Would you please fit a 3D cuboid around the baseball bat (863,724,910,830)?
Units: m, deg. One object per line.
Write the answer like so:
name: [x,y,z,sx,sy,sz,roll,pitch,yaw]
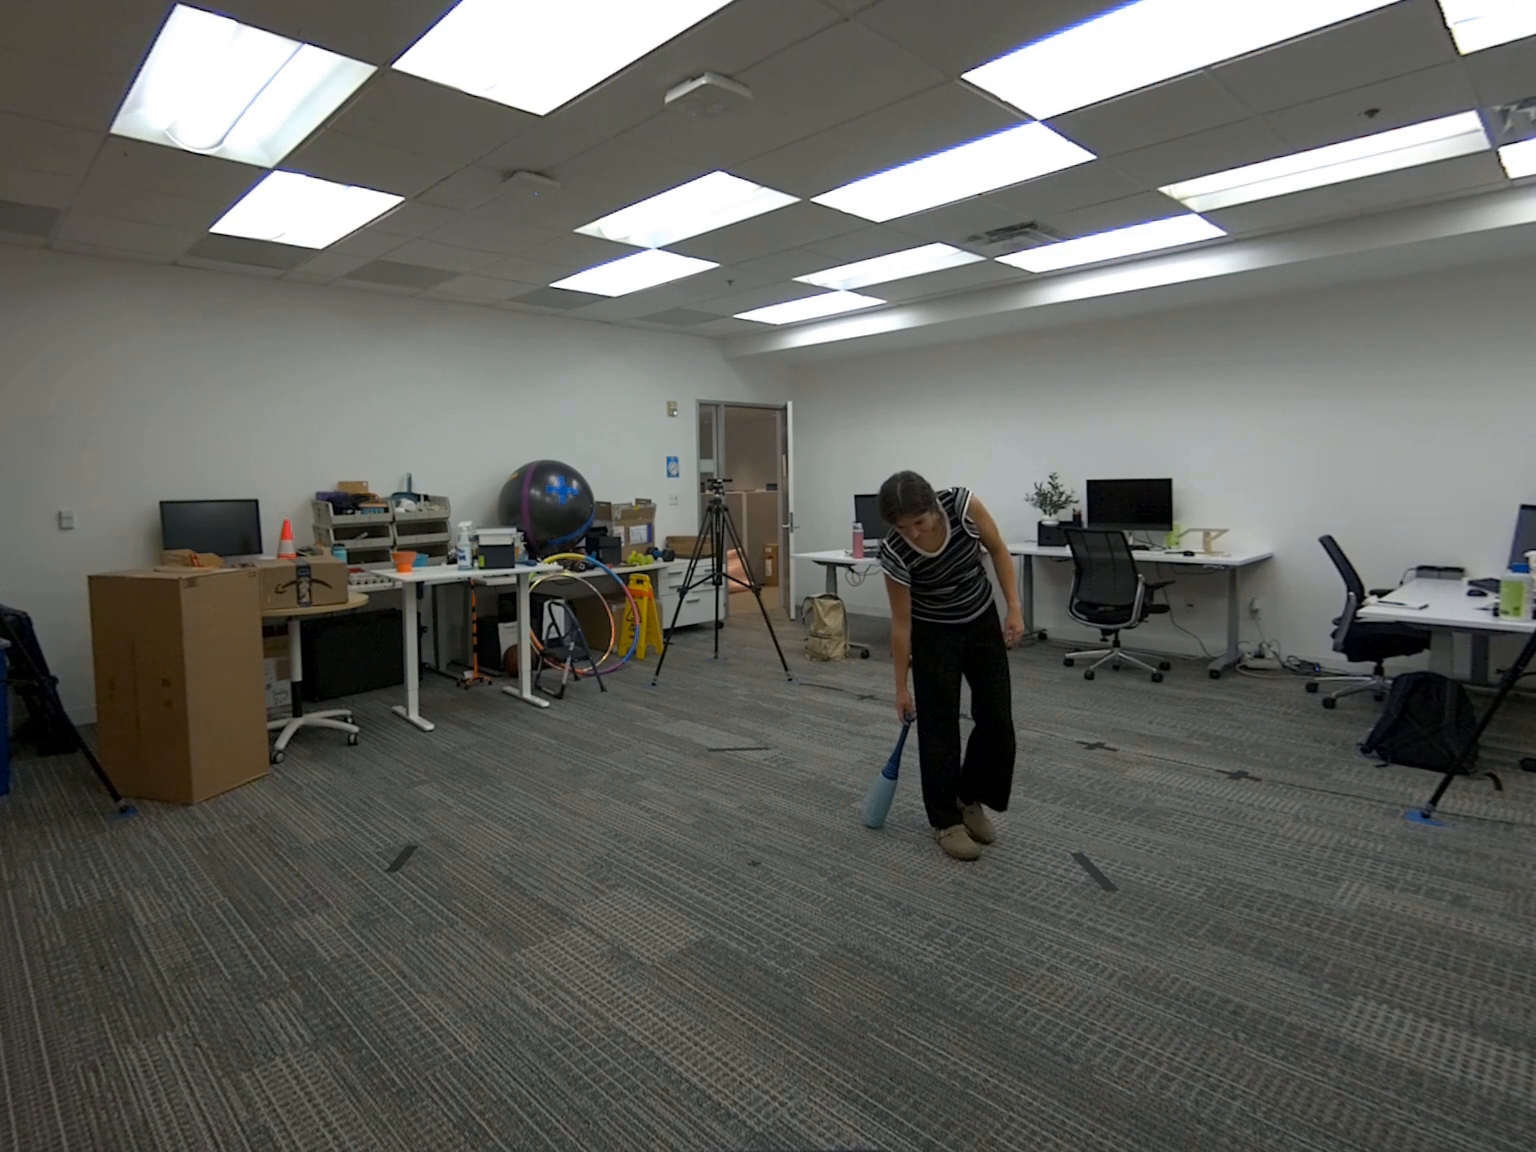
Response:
baseball bat: [0.482,0.761,3.328,0.088,0.535,0.091,11,25,-7]
